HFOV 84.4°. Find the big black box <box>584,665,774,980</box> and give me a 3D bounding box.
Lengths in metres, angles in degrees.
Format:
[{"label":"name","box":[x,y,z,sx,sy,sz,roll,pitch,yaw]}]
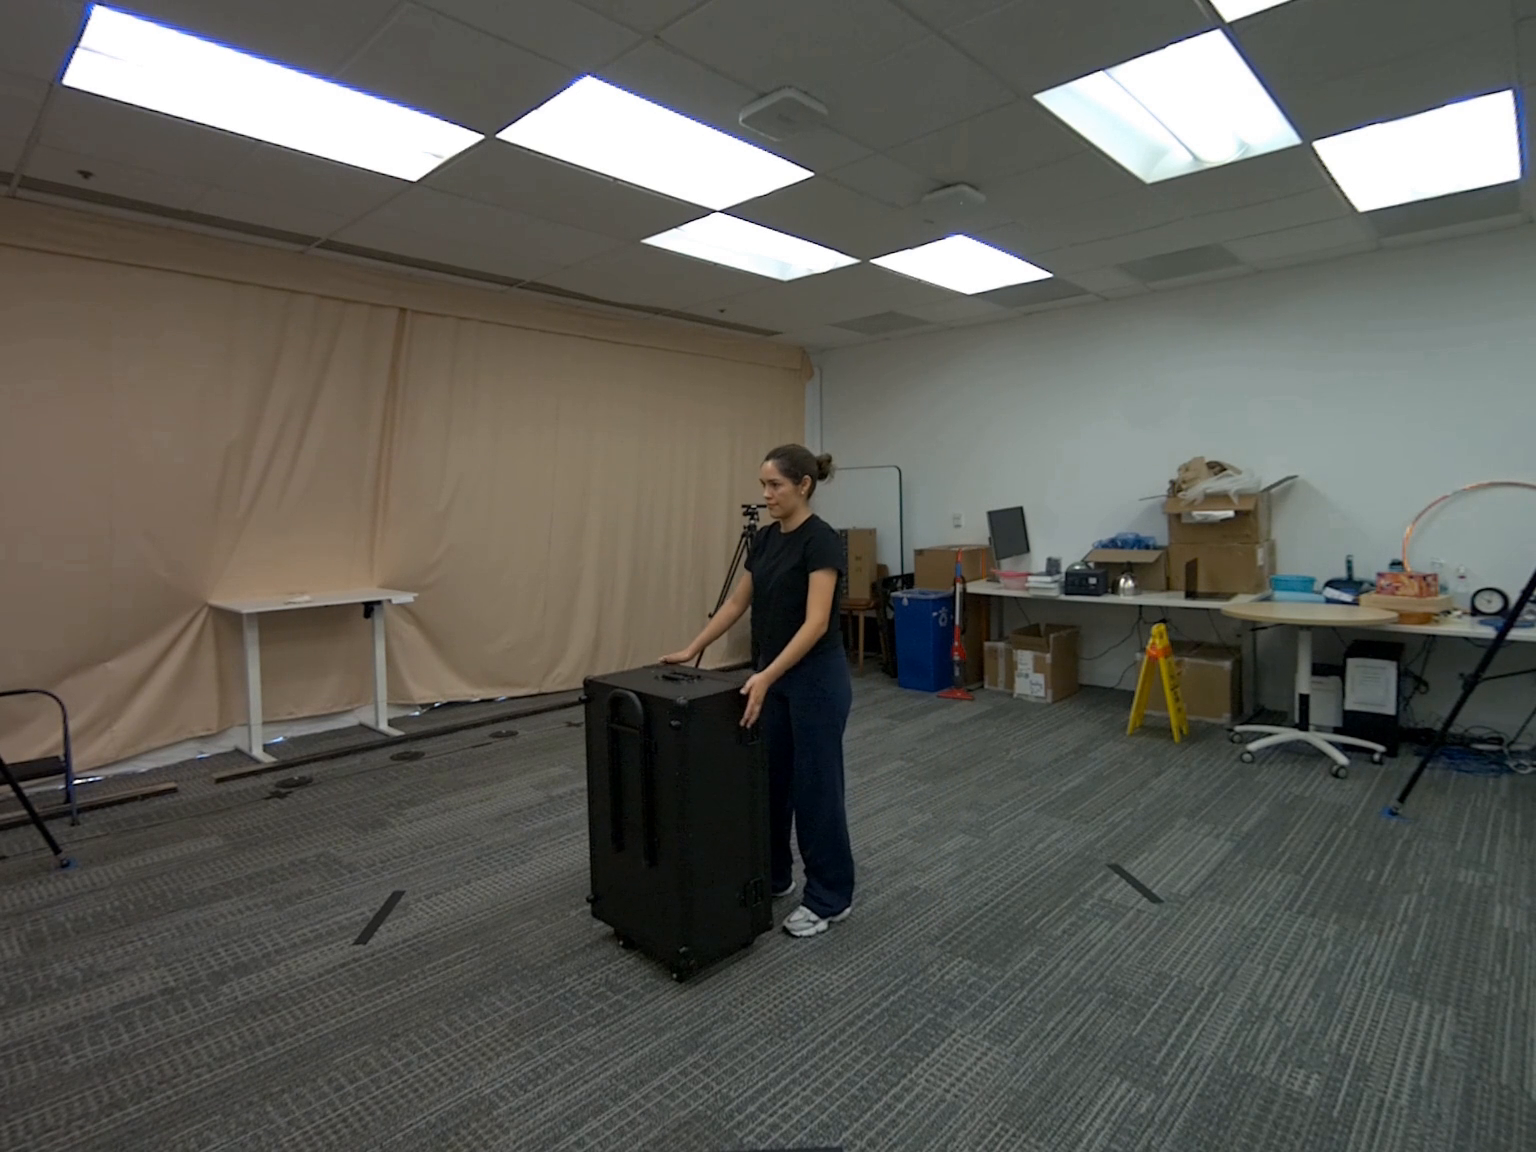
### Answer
[{"label":"big black box","box":[-0.271,0.750,2.649,0.384,0.859,0.538,-5,5,-45]}]
